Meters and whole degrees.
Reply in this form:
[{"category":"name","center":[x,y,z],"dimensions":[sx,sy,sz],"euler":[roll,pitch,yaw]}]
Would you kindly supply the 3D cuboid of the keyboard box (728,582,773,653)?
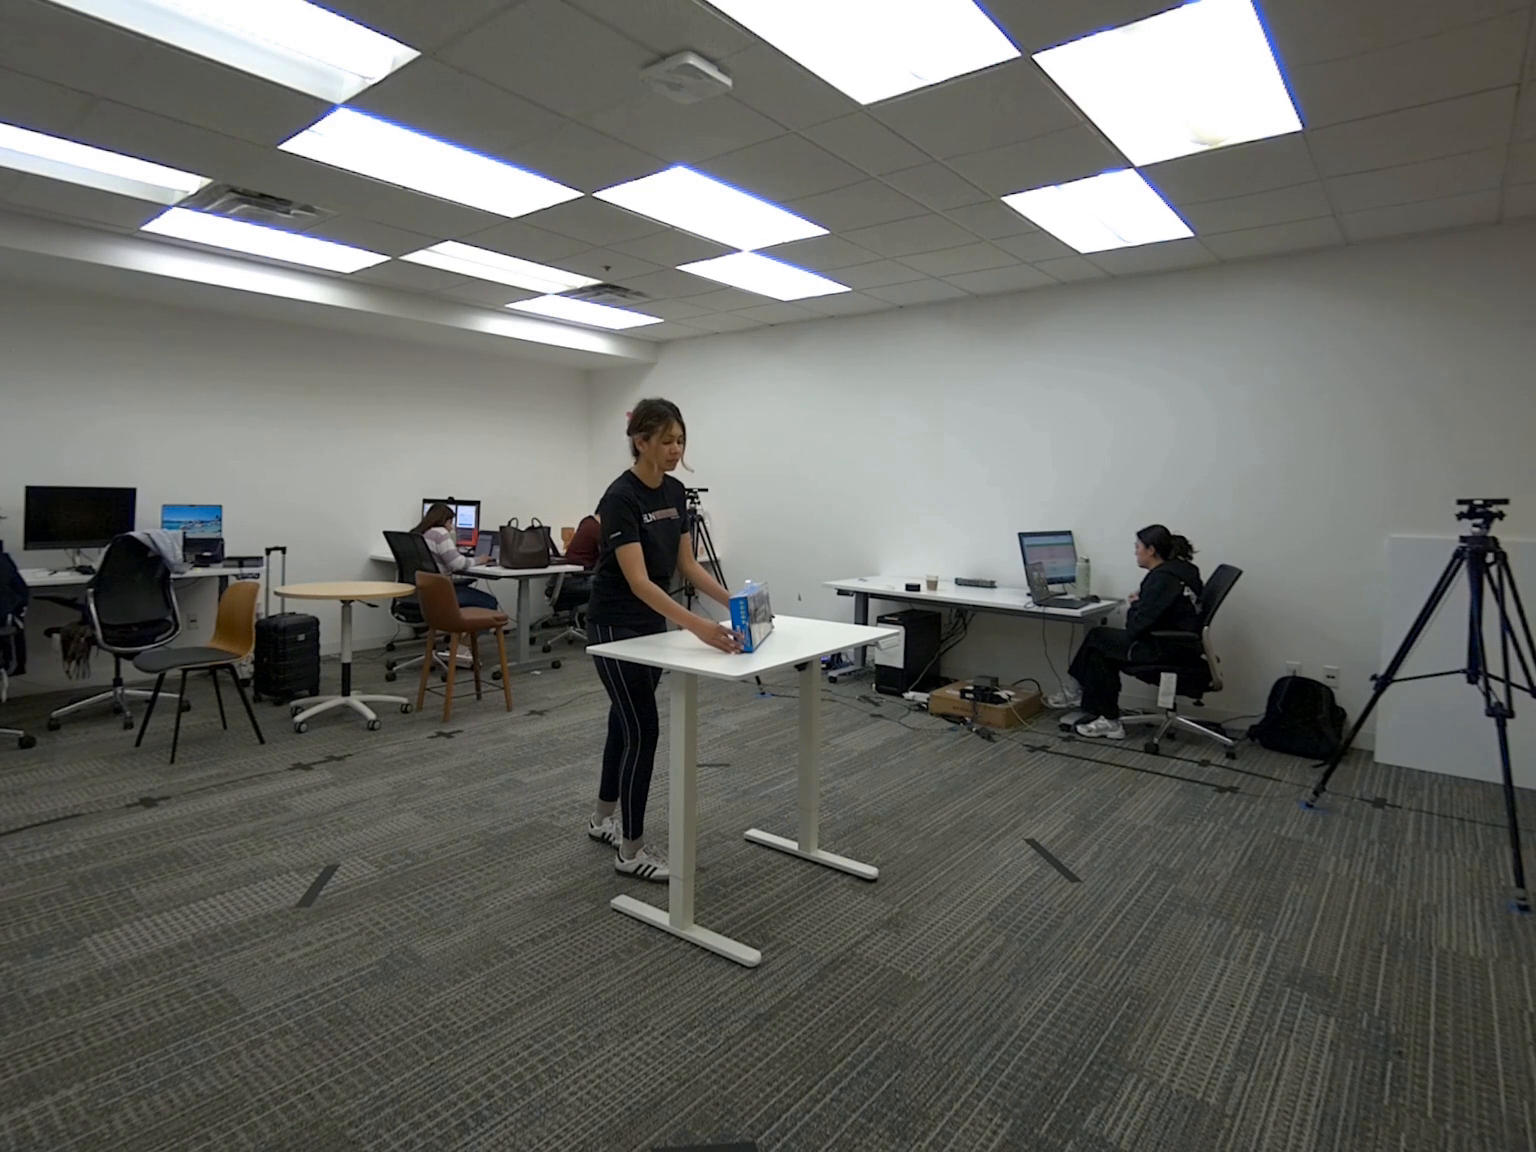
[{"category":"keyboard box","center":[-0.064,0.129,2.839],"dimensions":[0.060,0.175,0.433],"euler":[-5,5,10]}]
